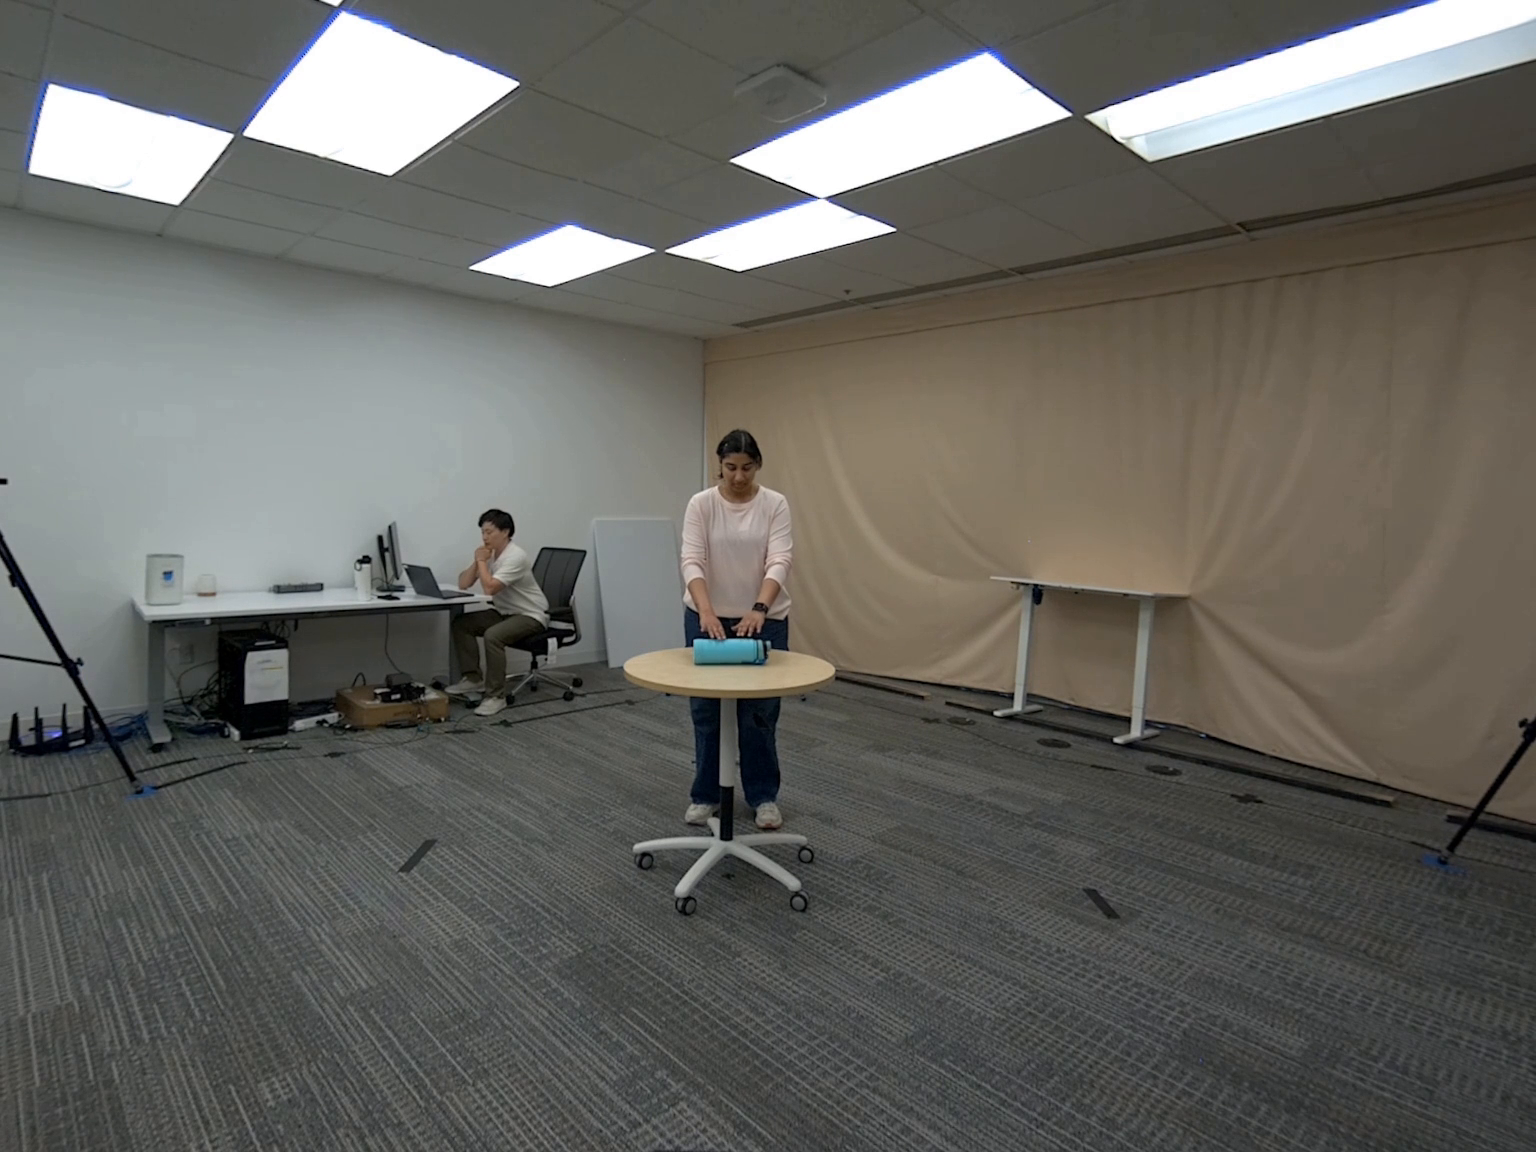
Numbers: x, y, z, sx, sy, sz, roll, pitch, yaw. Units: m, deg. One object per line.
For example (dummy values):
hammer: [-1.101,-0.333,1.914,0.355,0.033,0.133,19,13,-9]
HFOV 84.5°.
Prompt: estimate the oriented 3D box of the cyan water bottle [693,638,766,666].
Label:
cyan water bottle: [-0.143,0.278,3.086,0.282,0.092,0.093,0,4,-4]
